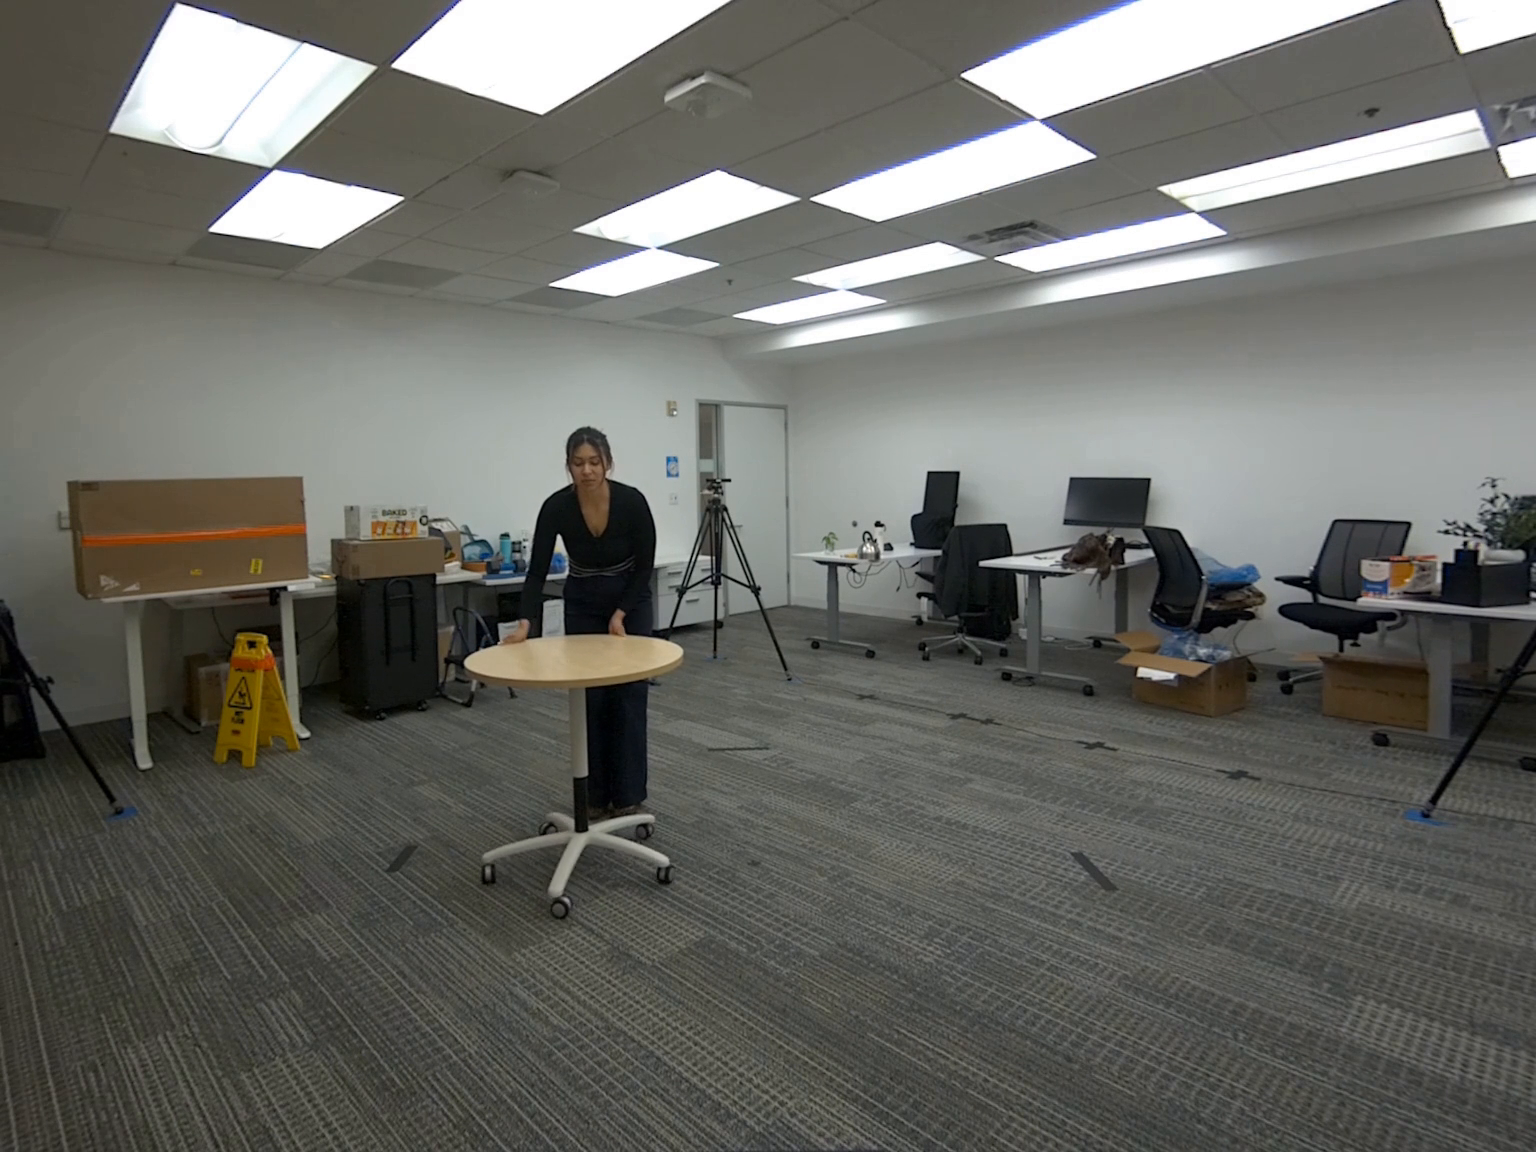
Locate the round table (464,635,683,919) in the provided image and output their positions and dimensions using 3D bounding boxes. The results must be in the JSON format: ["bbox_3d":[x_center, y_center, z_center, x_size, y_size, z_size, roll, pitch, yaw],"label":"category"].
[{"bbox_3d":[-0.679,0.674,3.070,0.763,0.791,0.768,-1,5,-2],"label":"round table"}]
